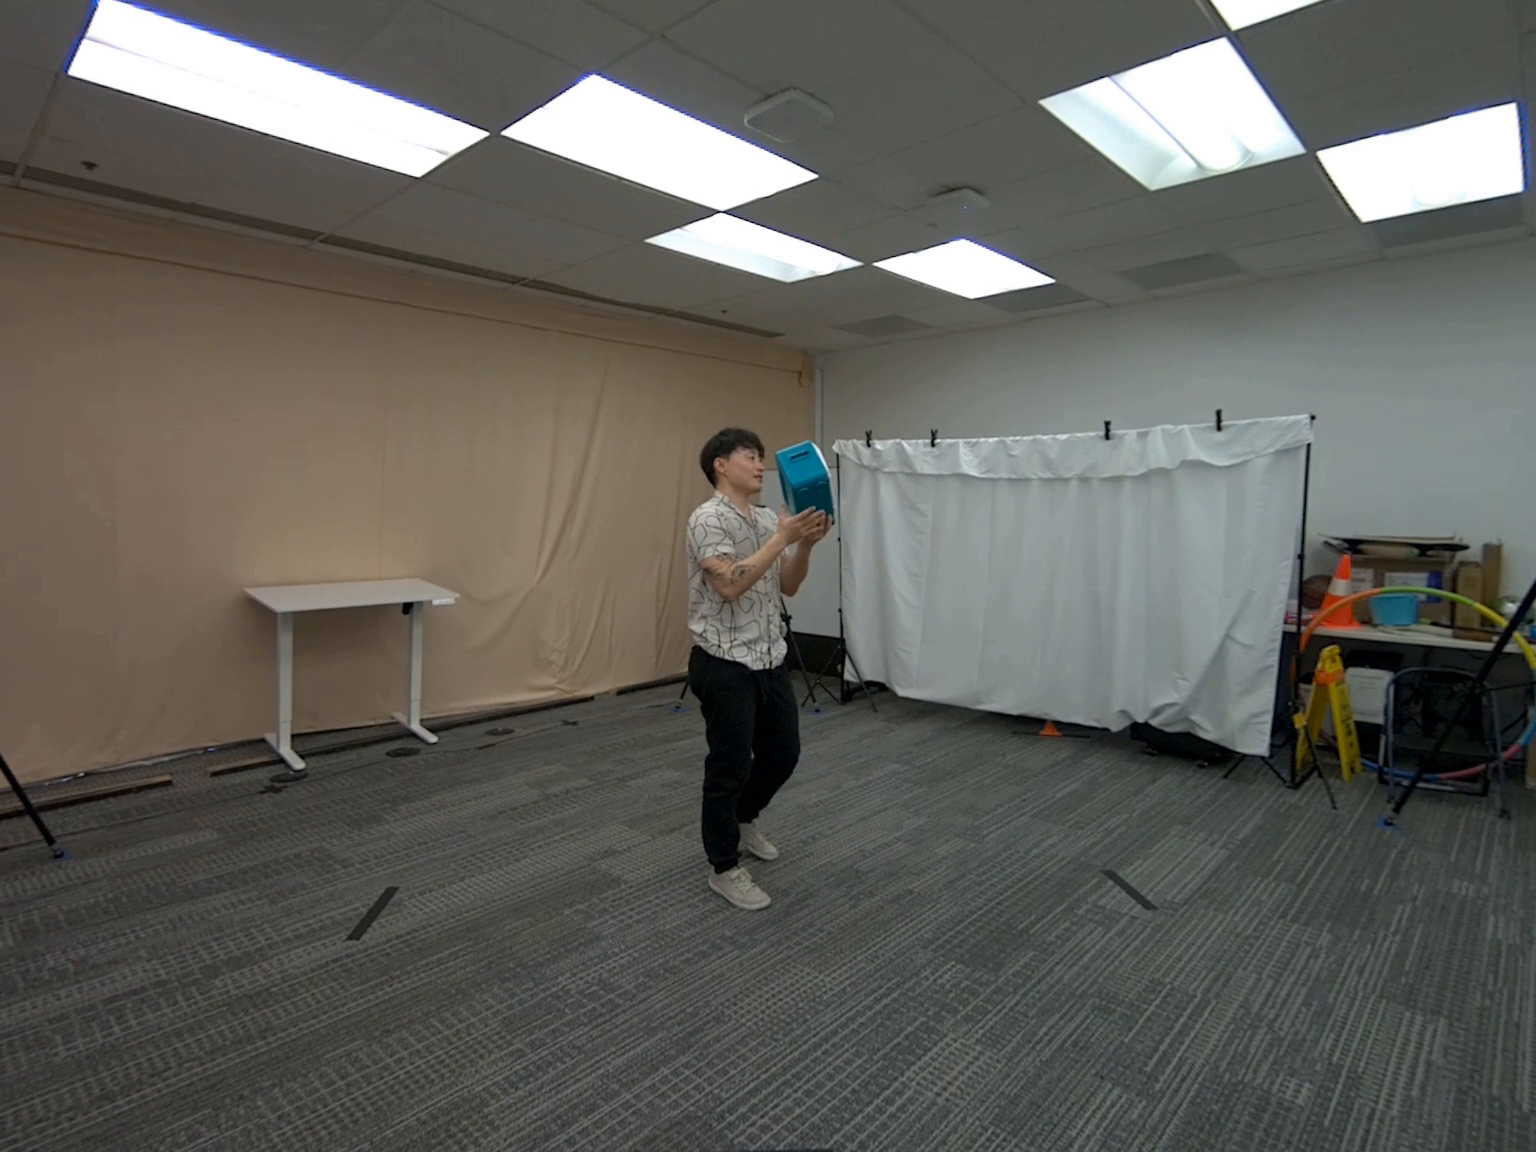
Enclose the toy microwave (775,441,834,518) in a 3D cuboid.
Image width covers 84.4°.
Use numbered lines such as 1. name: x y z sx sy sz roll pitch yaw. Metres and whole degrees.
1. toy microwave: 0.137 -0.286 2.809 0.152 0.189 0.279 -16 -37 -5
